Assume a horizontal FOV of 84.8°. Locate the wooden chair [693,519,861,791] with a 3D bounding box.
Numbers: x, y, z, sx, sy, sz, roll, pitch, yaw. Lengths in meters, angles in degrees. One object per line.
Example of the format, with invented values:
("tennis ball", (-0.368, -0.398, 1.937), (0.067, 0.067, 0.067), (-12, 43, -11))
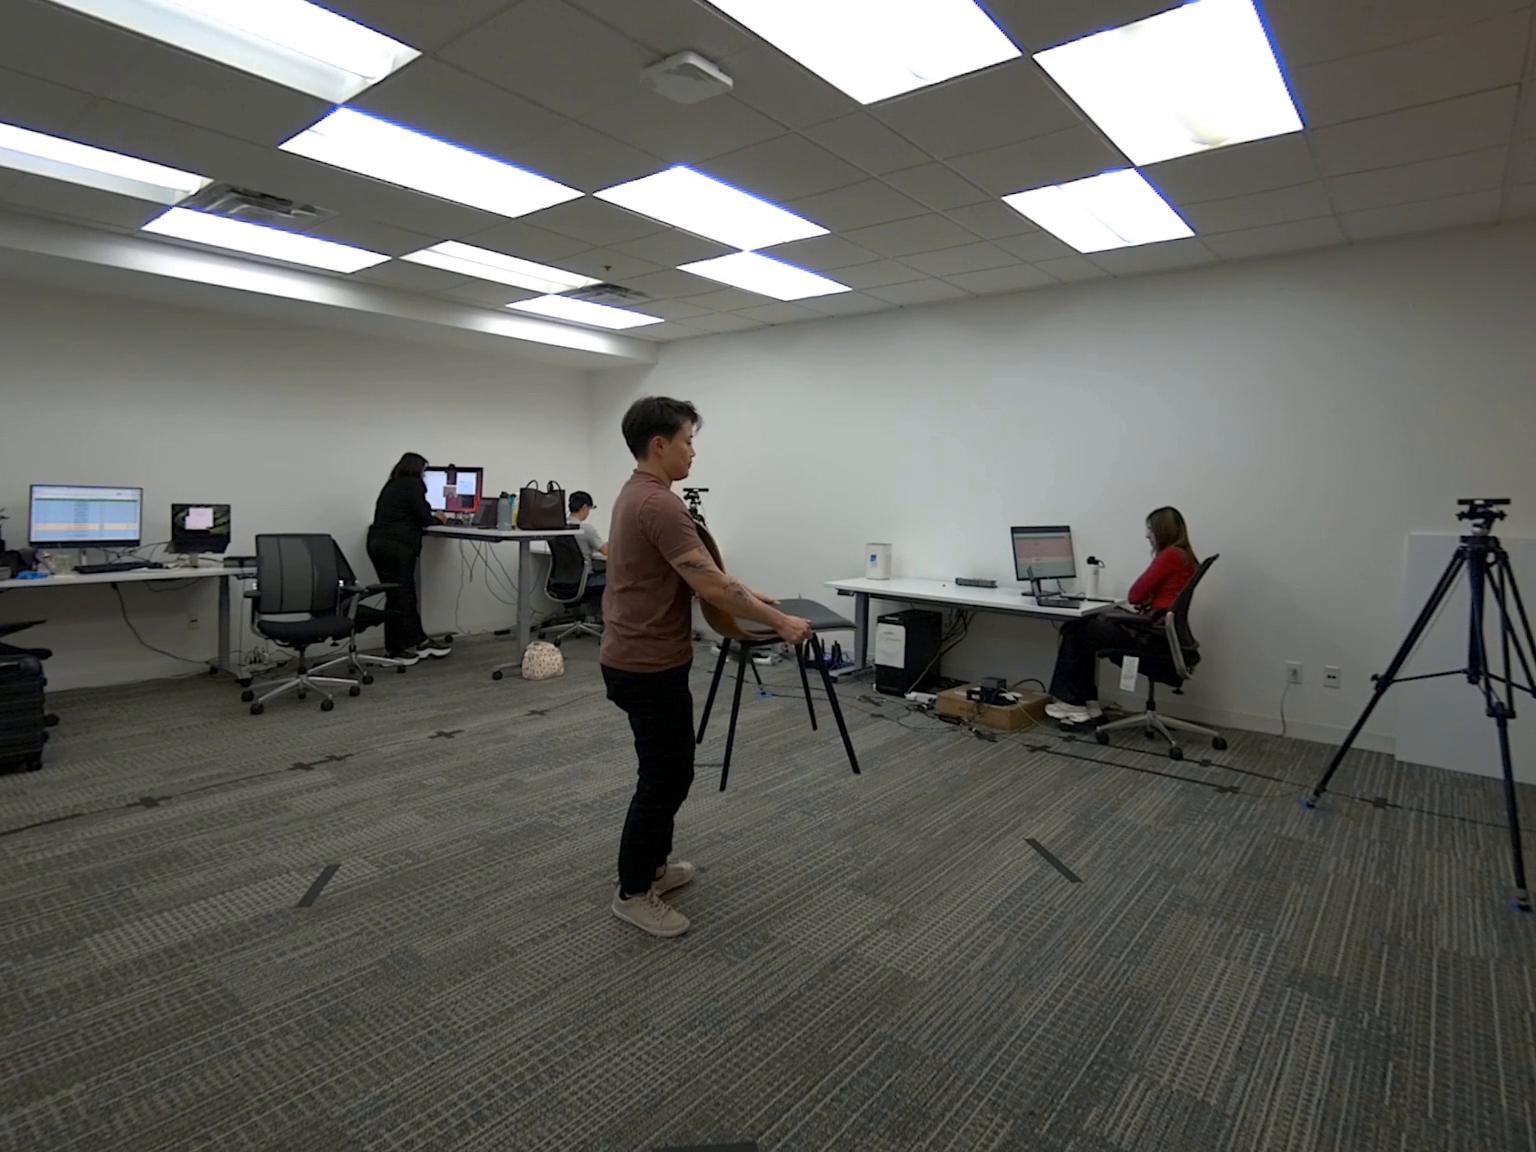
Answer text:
("wooden chair", (-0.003, 0.195, 2.834), (0.518, 0.871, 0.487), (-8, 7, -12))
